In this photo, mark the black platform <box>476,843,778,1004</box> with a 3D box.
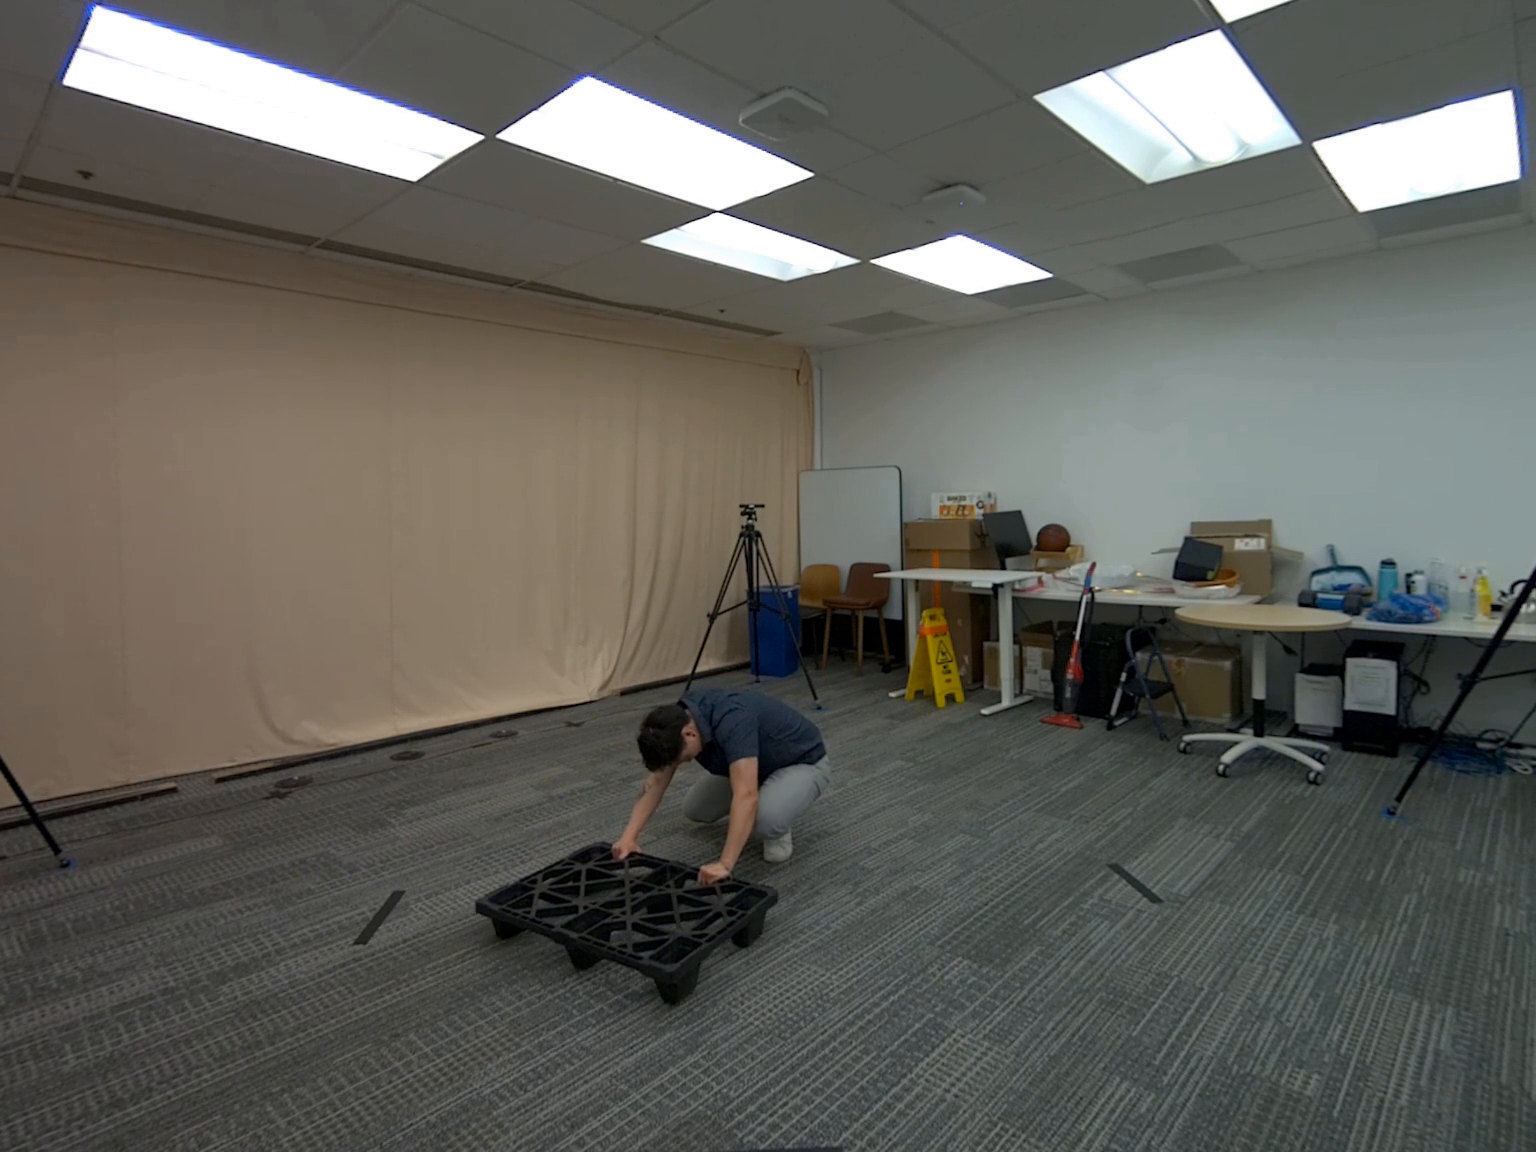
[{"bbox_3d":[-0.455,1.104,2.728,0.830,0.143,0.589,1,5,32],"label":"black platform"}]
